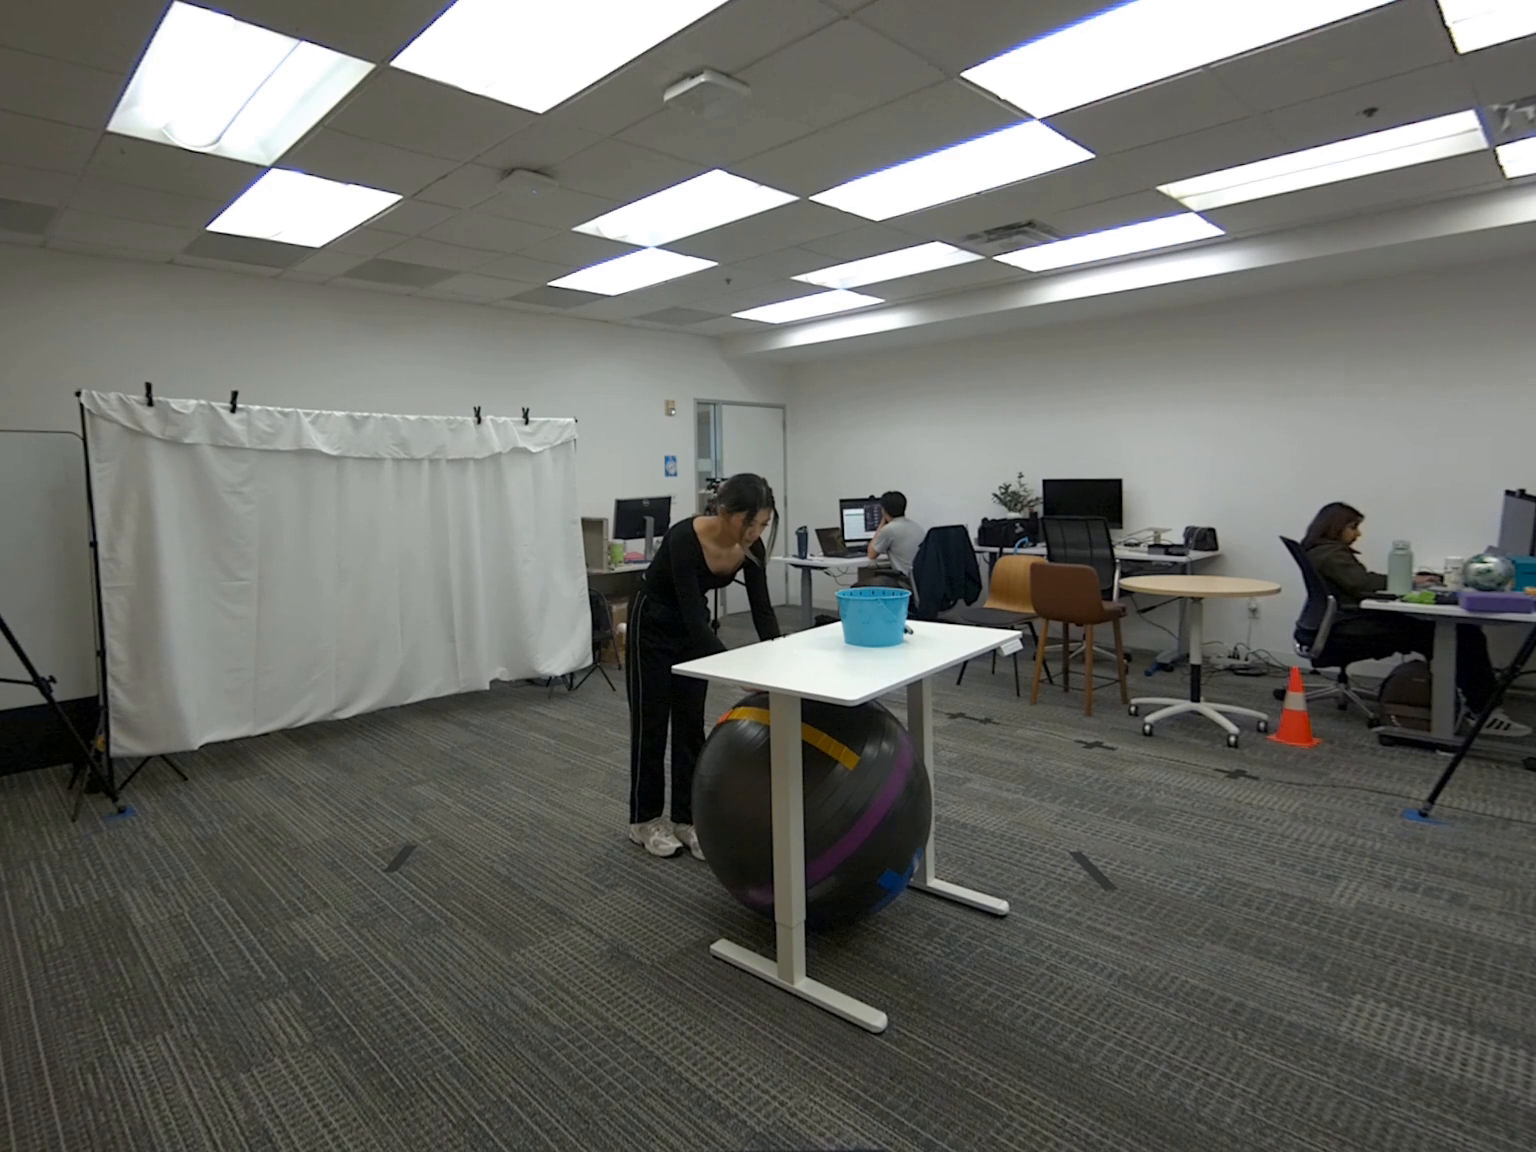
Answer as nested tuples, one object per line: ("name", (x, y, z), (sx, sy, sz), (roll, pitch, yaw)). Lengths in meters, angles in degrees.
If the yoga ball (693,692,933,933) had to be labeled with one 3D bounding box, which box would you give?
("yoga ball", (0.131, 0.720, 2.714), (0.757, 0.755, 0.762), (-1, 5, -2))
